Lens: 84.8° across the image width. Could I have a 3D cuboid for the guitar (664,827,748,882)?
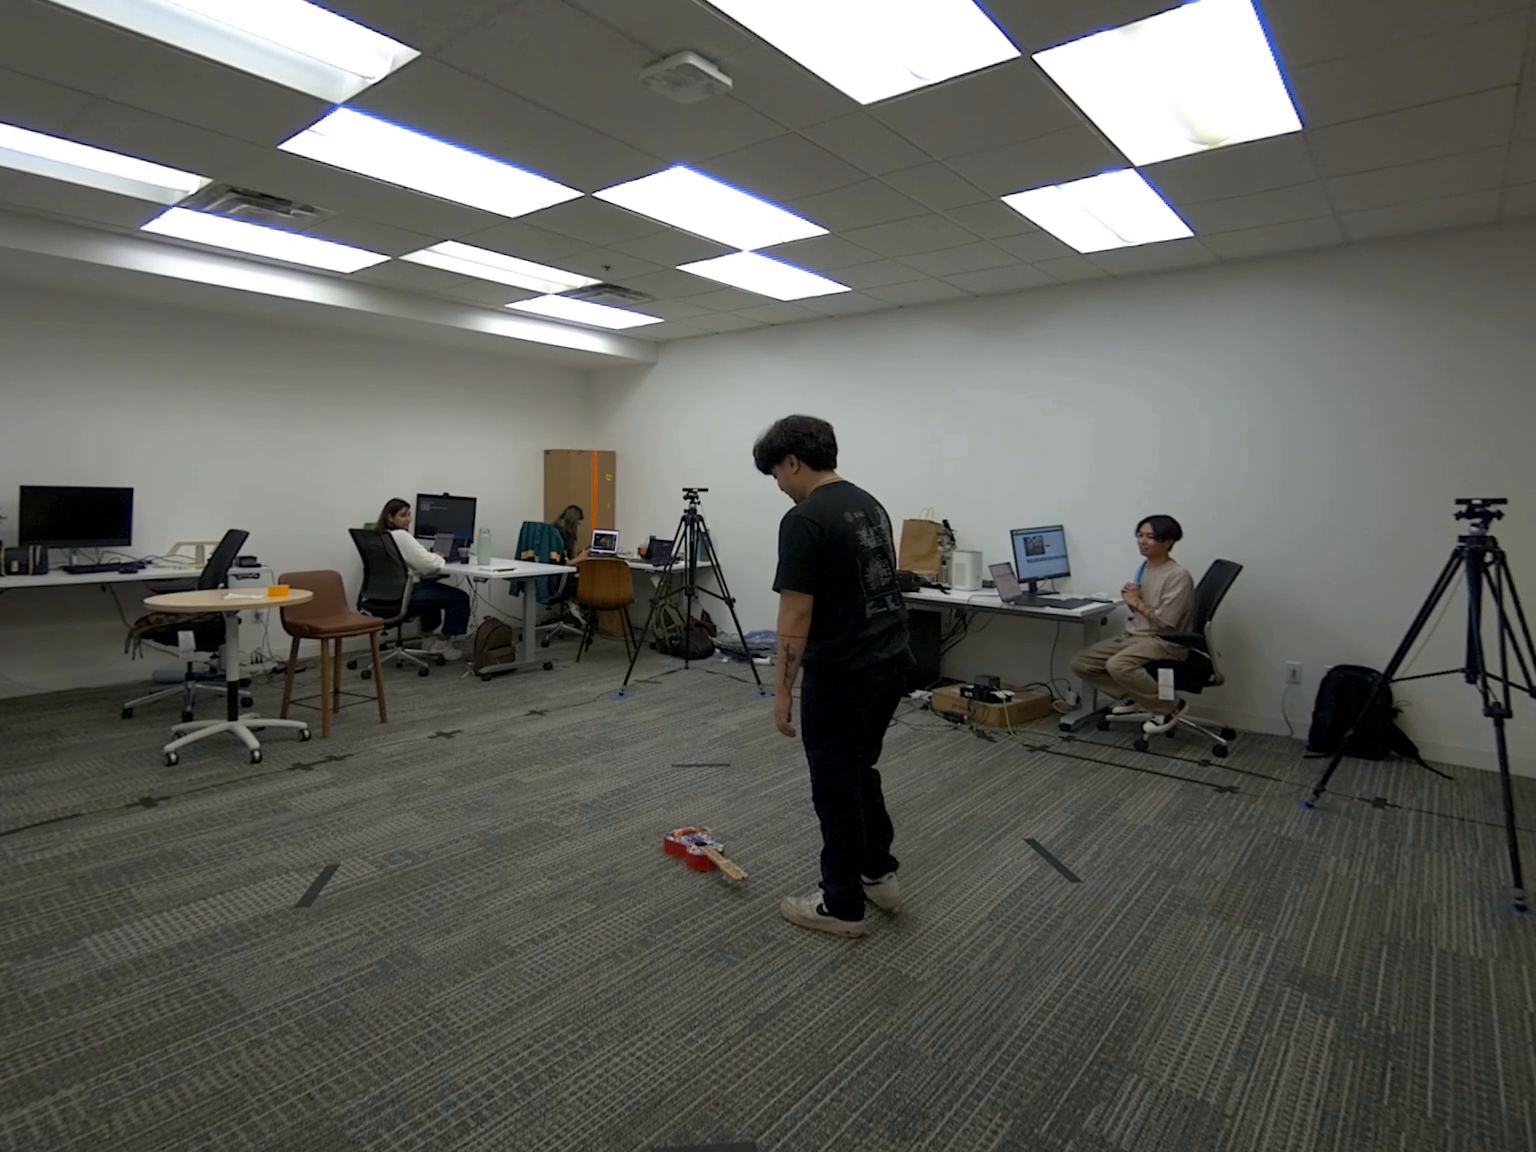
[{"bbox_3d":[-0.247,1.032,3.114,0.189,0.070,0.509,-1,5,-21],"label":"guitar"}]
